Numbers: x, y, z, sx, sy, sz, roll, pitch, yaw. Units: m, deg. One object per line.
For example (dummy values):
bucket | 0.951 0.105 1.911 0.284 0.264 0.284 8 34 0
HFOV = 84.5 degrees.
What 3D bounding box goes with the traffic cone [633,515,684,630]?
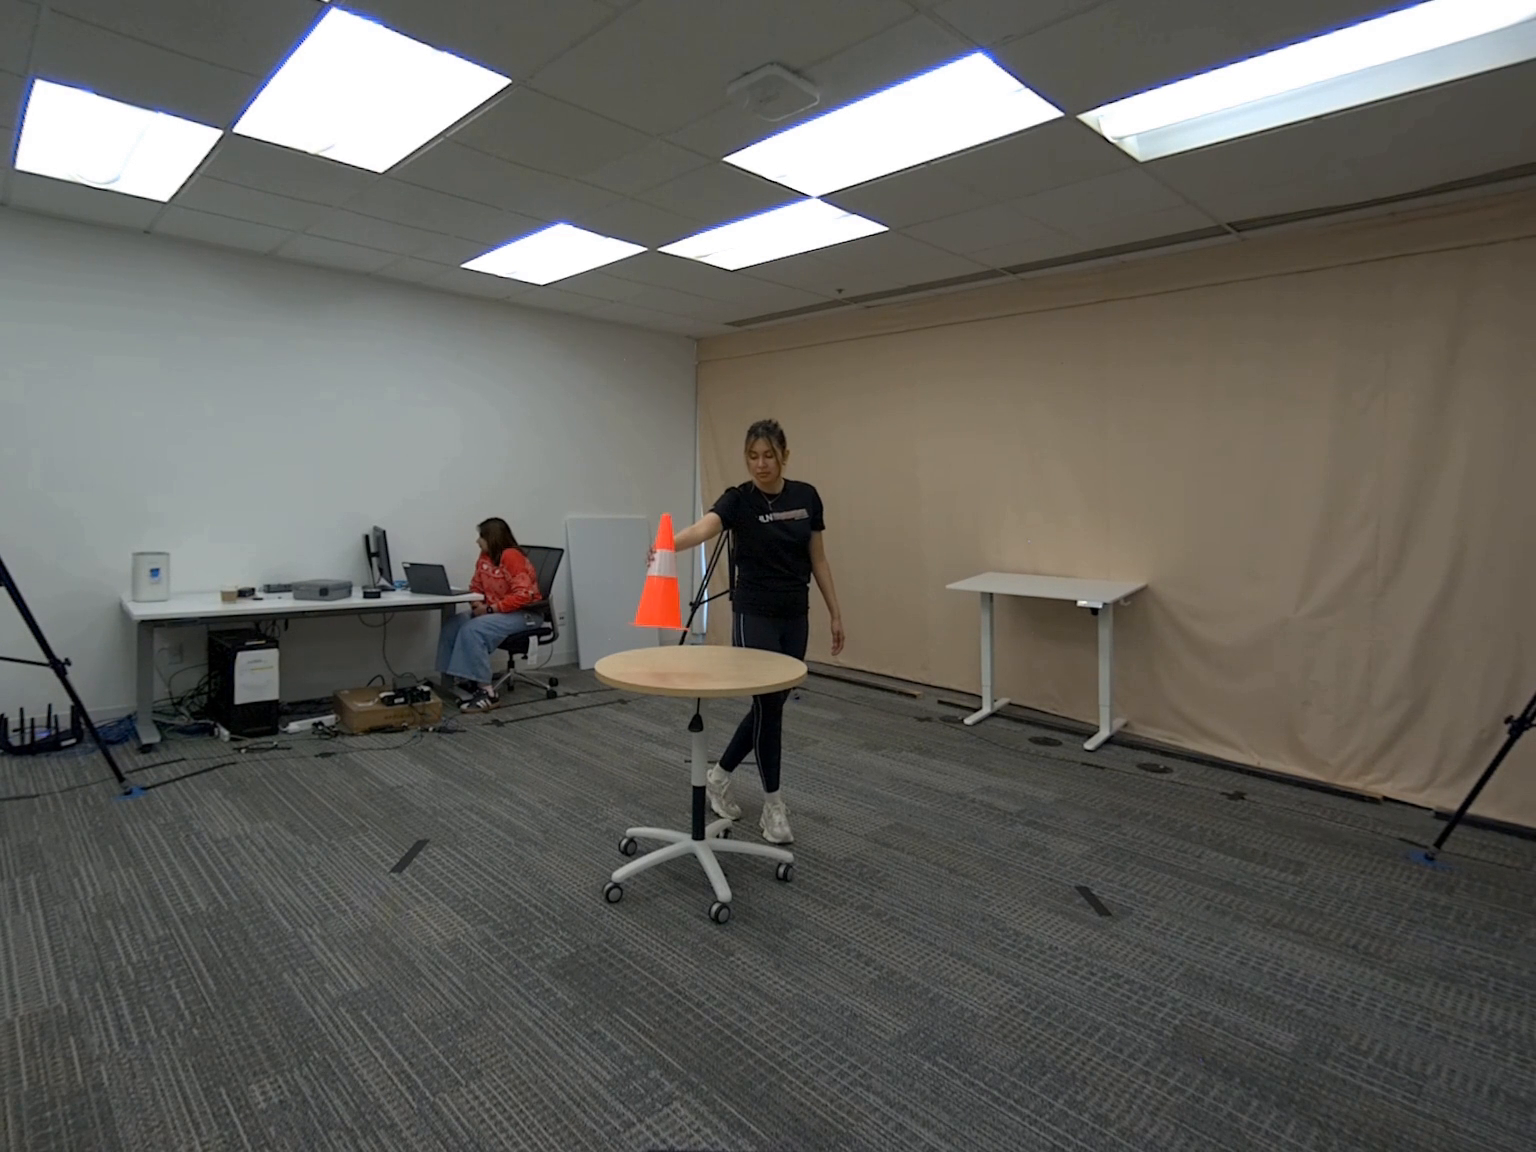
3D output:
traffic cone | -0.363 -0.020 2.844 0.201 0.385 0.206 7 -6 -14
